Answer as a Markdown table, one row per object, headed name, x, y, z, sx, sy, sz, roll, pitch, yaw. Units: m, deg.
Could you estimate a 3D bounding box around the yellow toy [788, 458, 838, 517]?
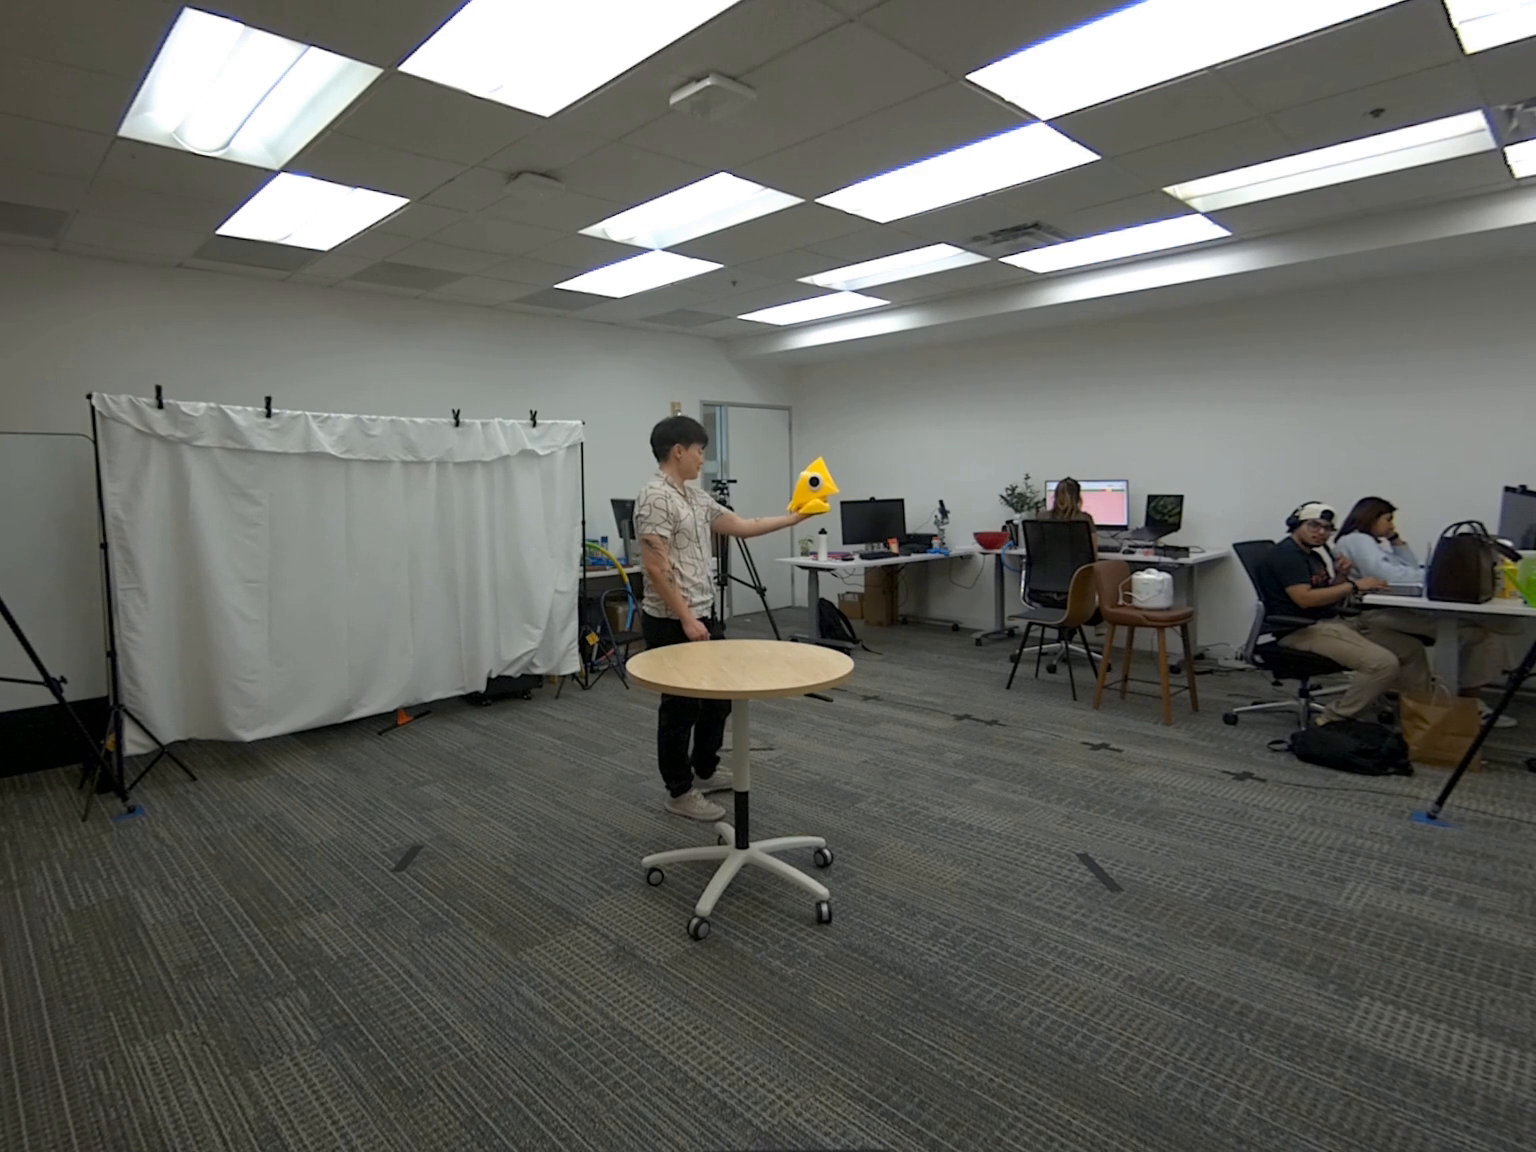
| name | x | y | z | sx | sy | sz | roll | pitch | yaw |
| --- | --- | --- | --- | --- | --- | --- | --- | --- | --- |
| yellow toy | 0.185 | -0.409 | 3.800 | 0.189 | 0.228 | 0.210 | -8 | 11 | -23 |
